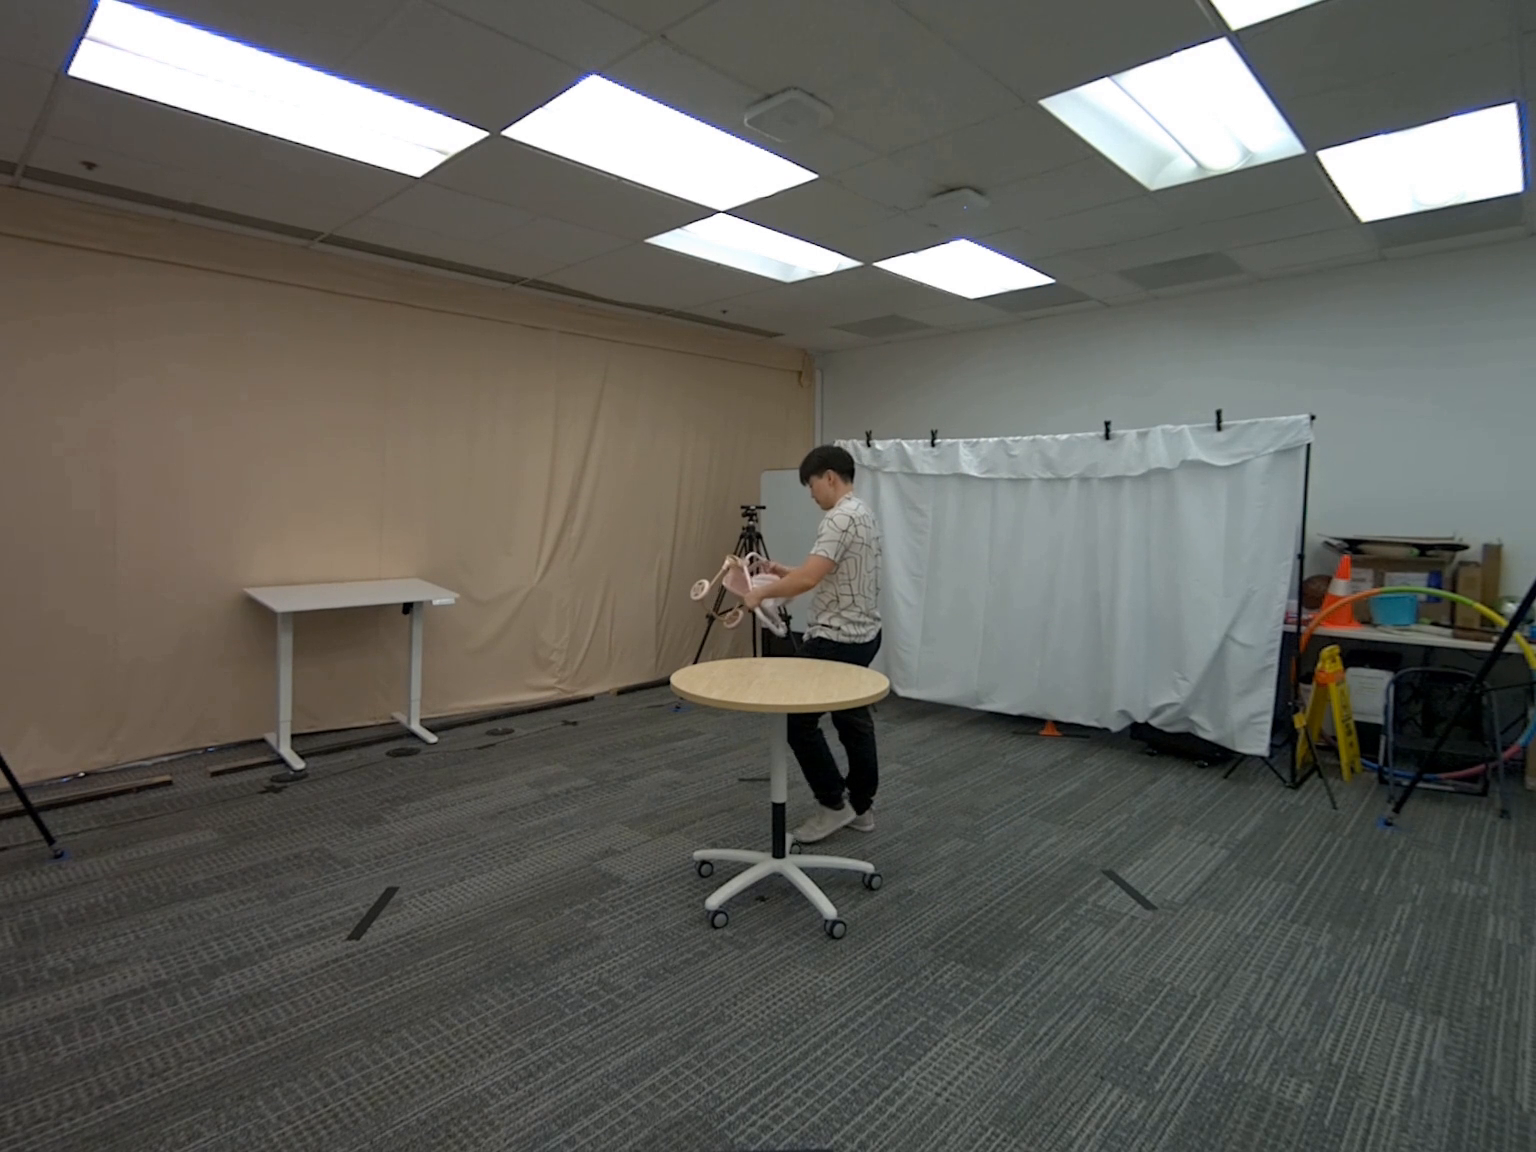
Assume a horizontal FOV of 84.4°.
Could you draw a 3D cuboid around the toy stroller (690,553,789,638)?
[{"bbox_3d":[-0.083,0.069,3.791,0.553,0.341,0.273,7,-33,50],"label":"toy stroller"}]
